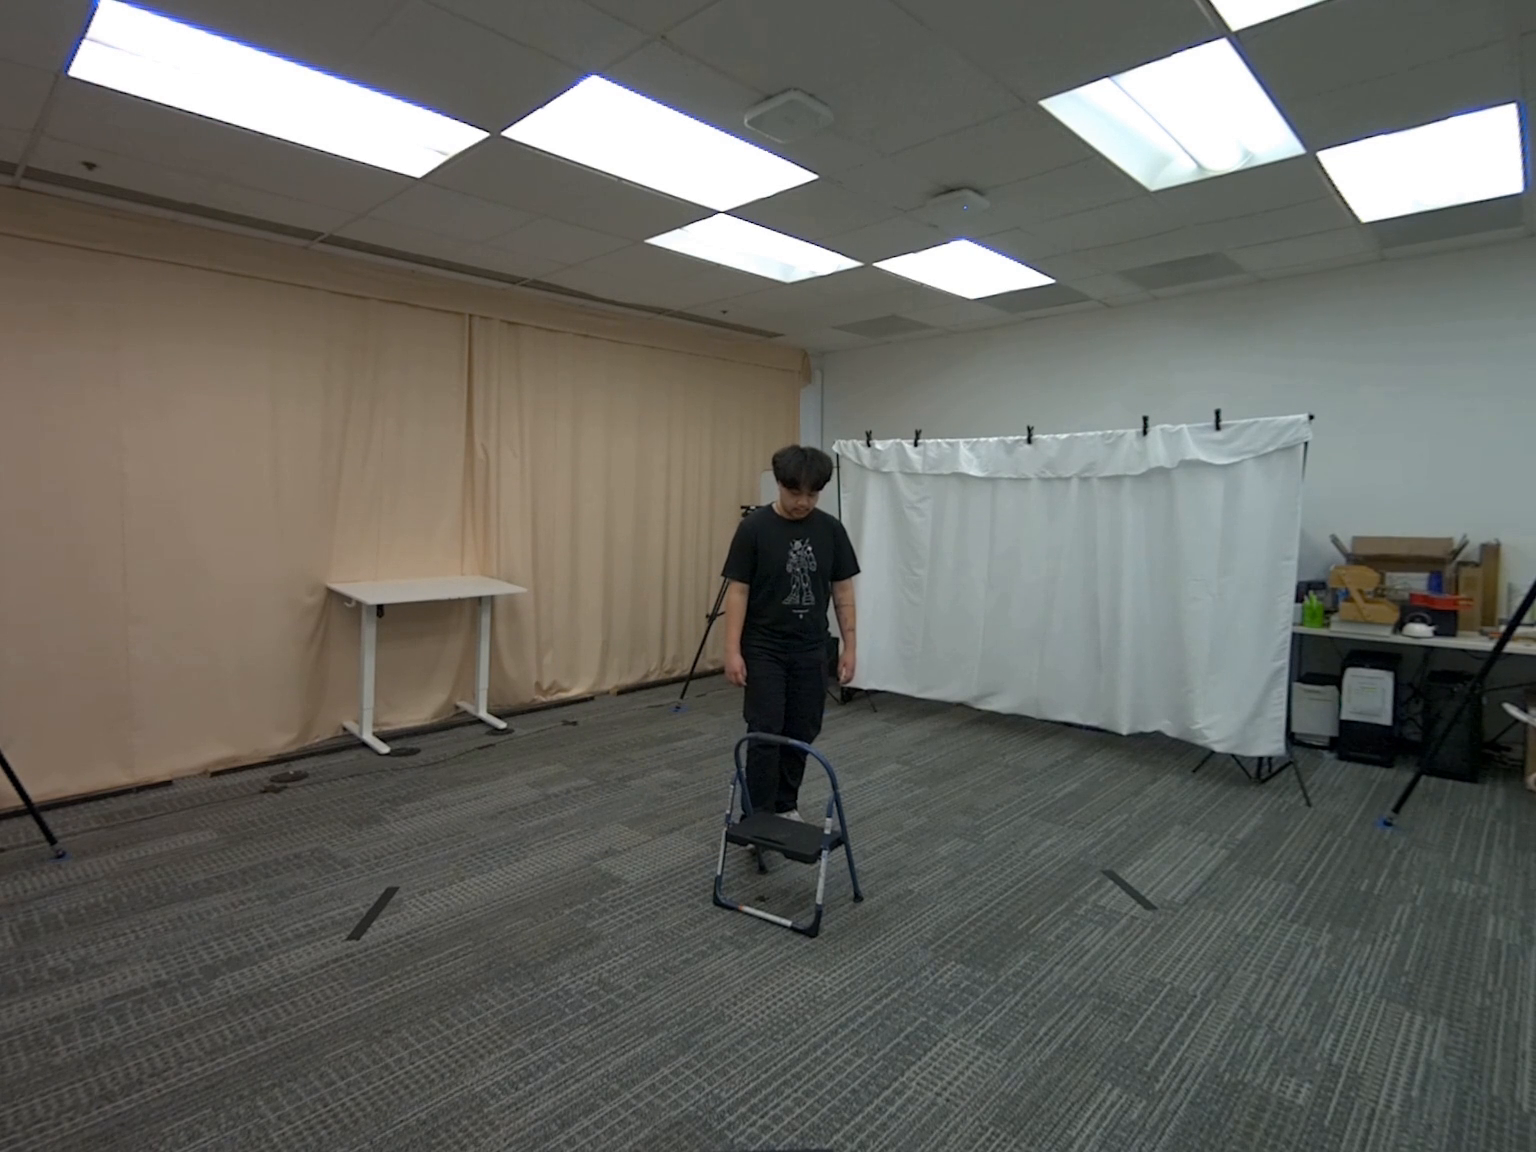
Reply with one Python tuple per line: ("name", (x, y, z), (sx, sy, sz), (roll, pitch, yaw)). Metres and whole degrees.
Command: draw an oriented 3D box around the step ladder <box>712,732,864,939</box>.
("step ladder", (0.071, 0.839, 2.943), (0.444, 0.605, 0.339), (2, 4, 33))
